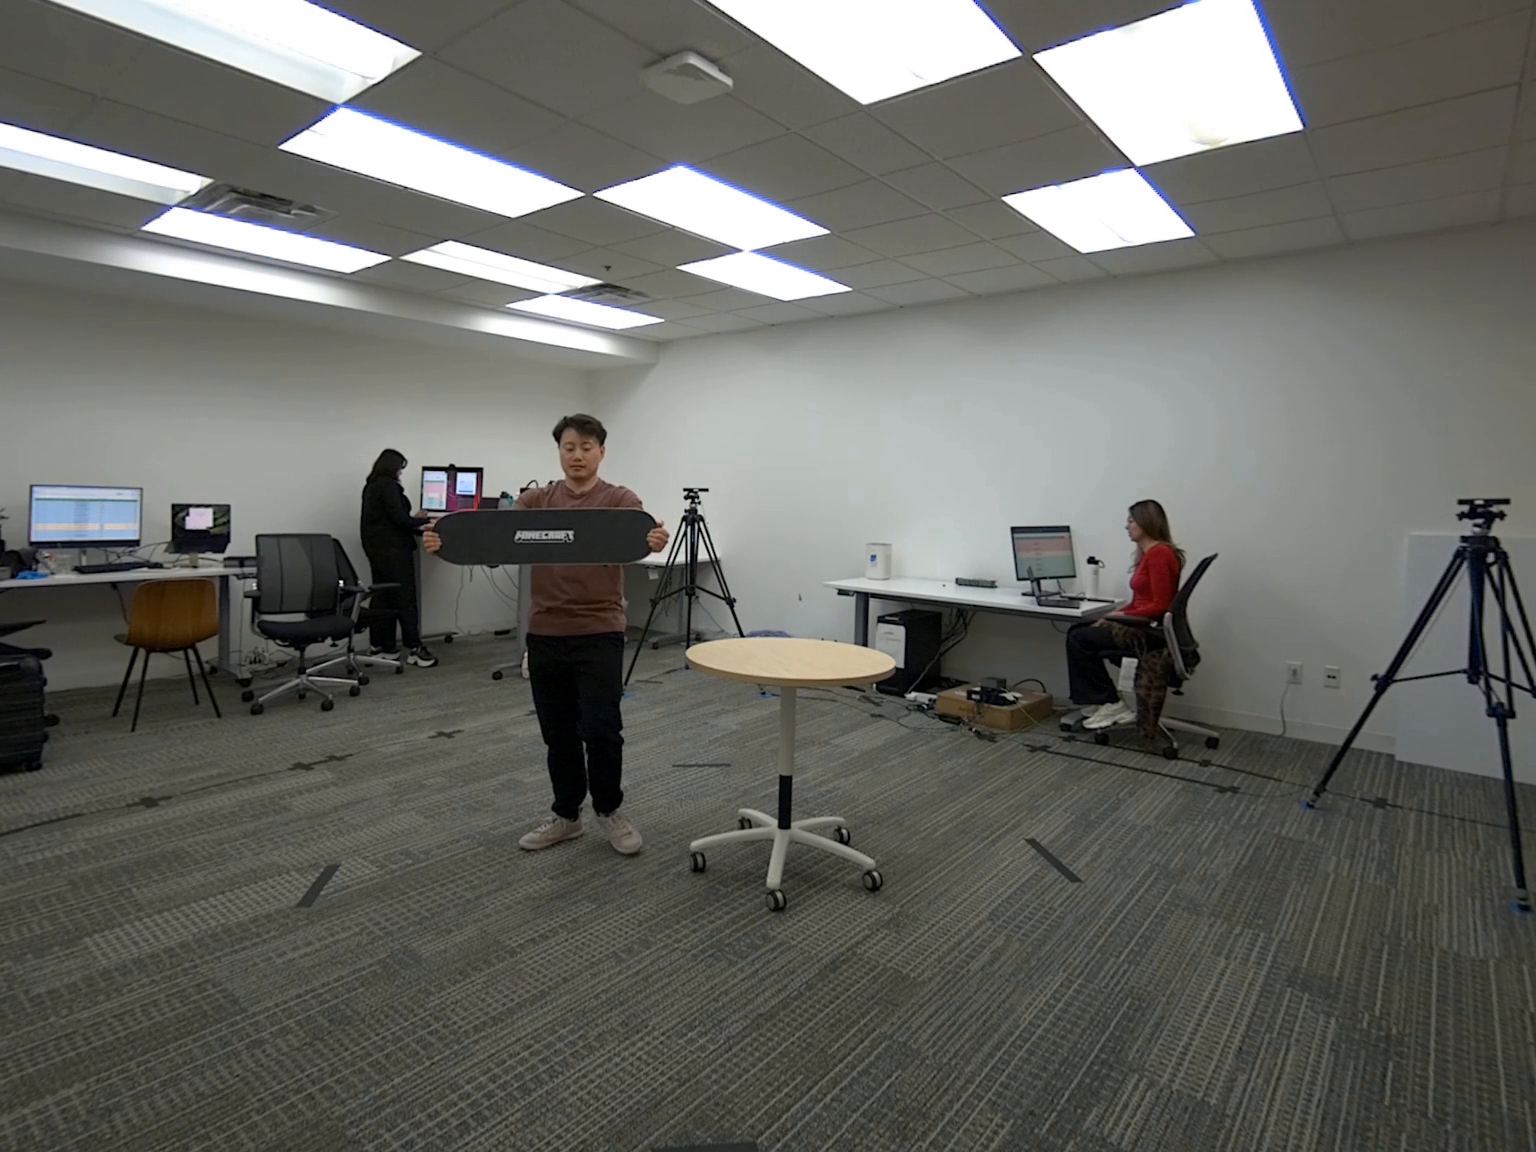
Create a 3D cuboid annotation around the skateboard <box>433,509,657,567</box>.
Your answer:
[{"bbox_3d":[-0.743,-0.134,2.909,0.791,0.195,0.109,0,-8,7],"label":"skateboard"}]
